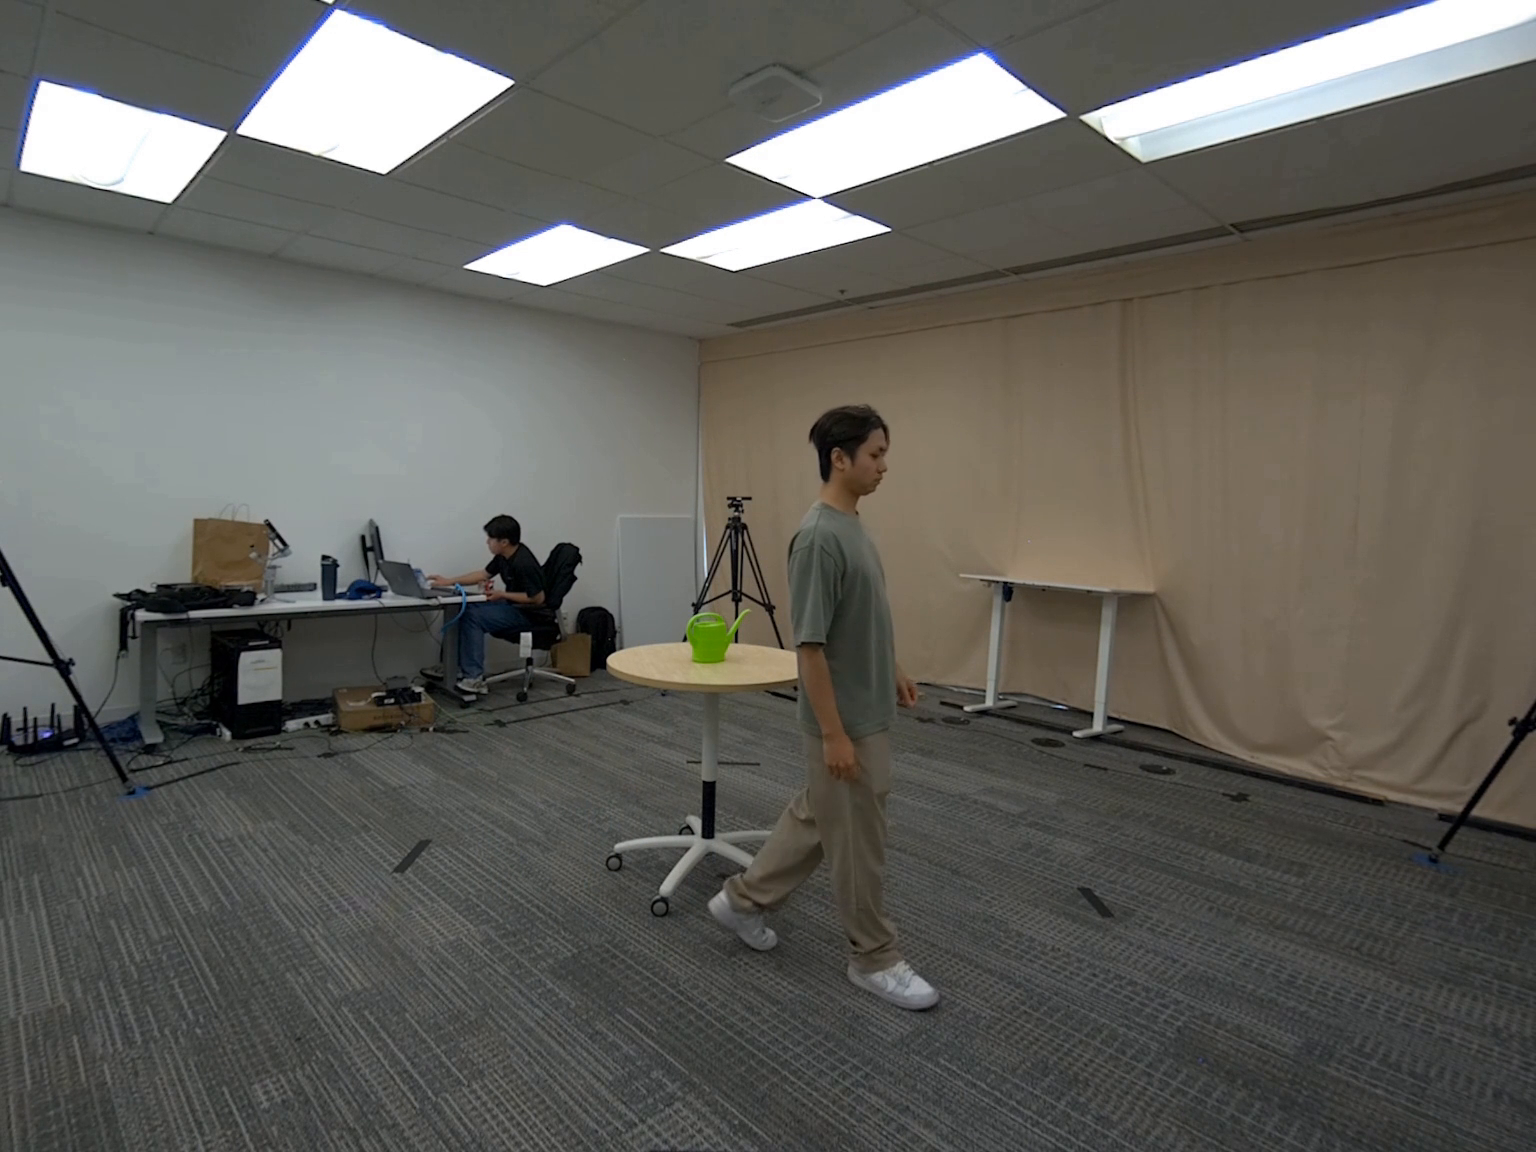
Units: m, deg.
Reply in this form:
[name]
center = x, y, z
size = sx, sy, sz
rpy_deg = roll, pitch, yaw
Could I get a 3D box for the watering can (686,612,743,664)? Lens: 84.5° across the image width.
[watering can]
center = -0.181, 0.223, 3.084
size = 0.274, 0.176, 0.100
rpy_deg = -2, 5, -23
